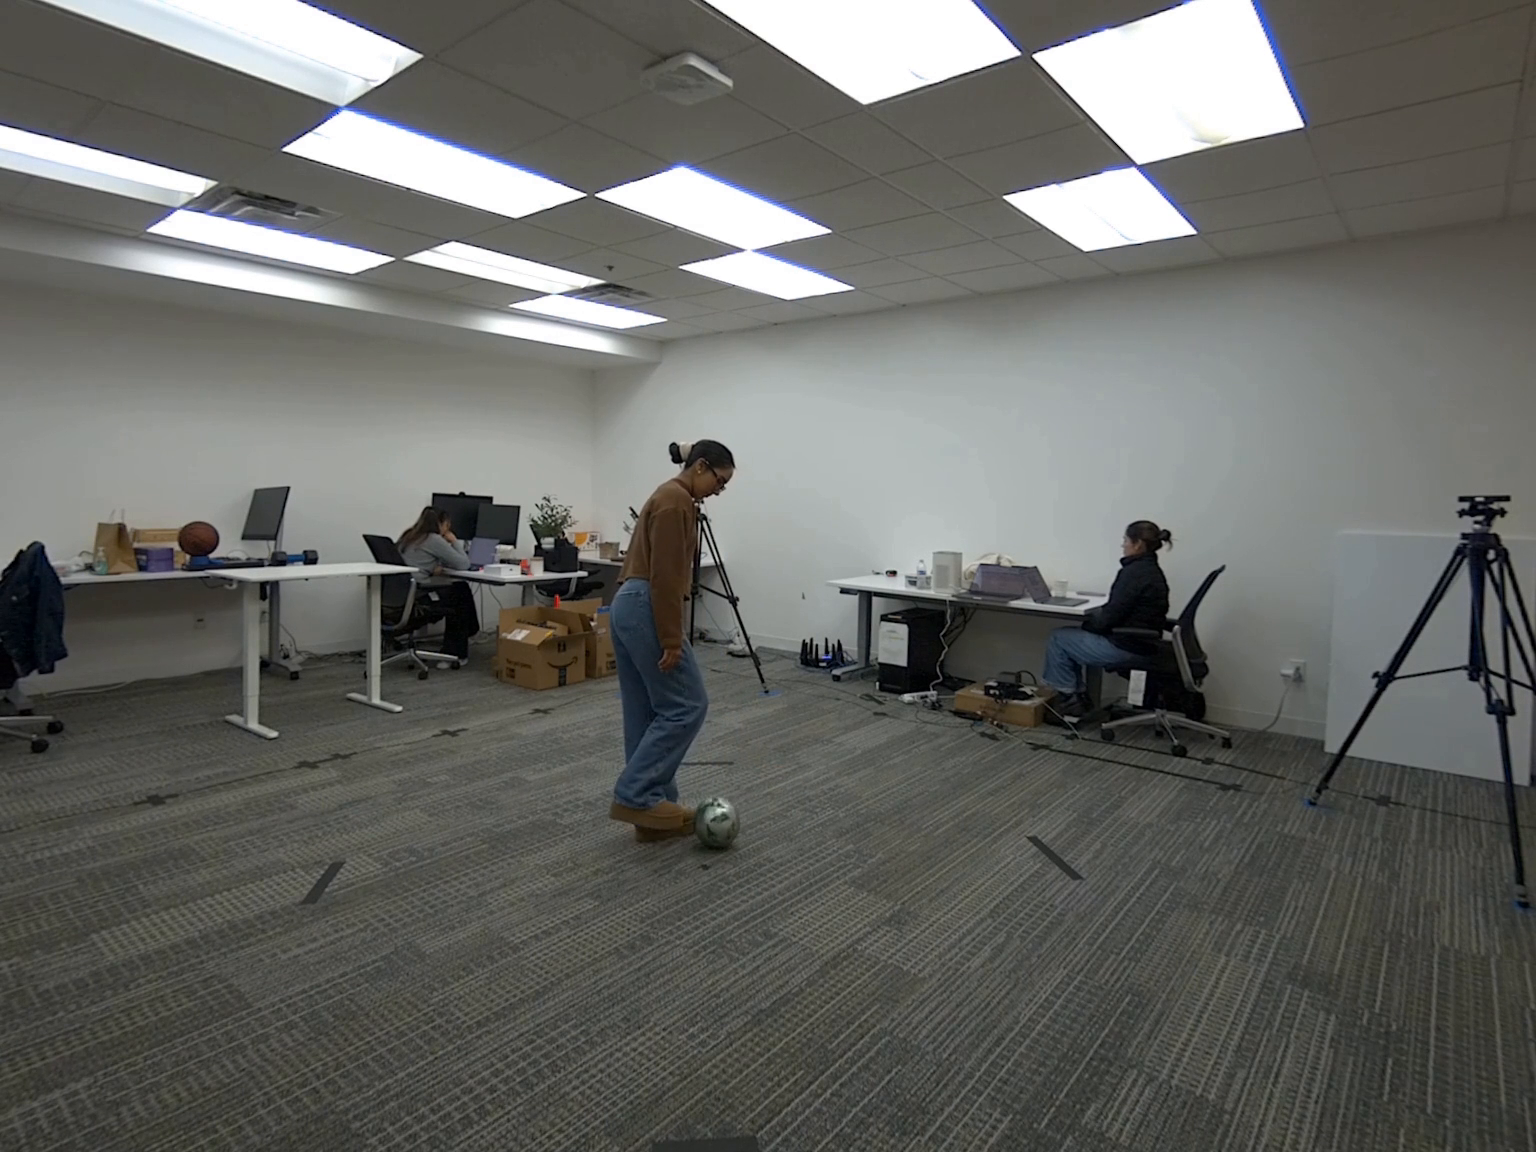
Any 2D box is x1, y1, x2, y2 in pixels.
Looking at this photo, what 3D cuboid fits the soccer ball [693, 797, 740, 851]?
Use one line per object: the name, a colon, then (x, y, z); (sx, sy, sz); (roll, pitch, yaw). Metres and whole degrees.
soccer ball: (-0.204, 0.957, 3.300); (0.187, 0.187, 0.188); (1, 4, -2)
